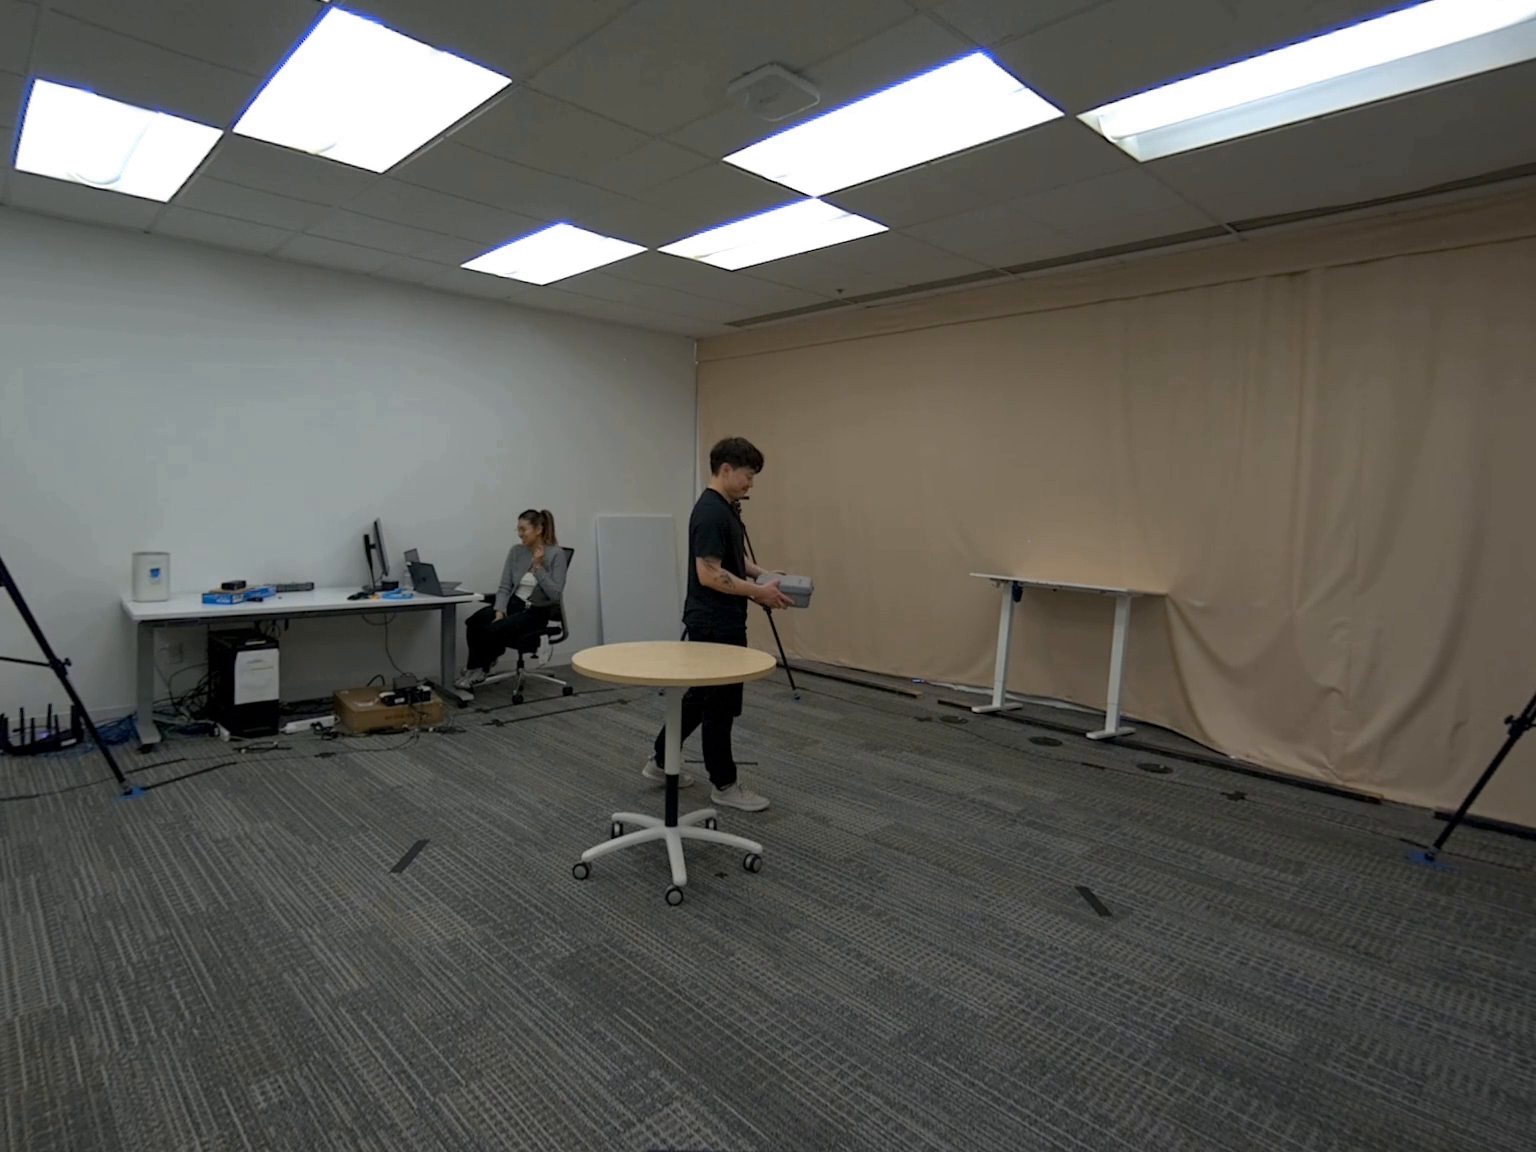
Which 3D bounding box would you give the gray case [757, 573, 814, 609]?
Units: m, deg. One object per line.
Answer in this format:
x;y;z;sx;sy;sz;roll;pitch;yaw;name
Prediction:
0.049;0.062;3.824;0.261;0.104;0.257;5;9;2;gray case
